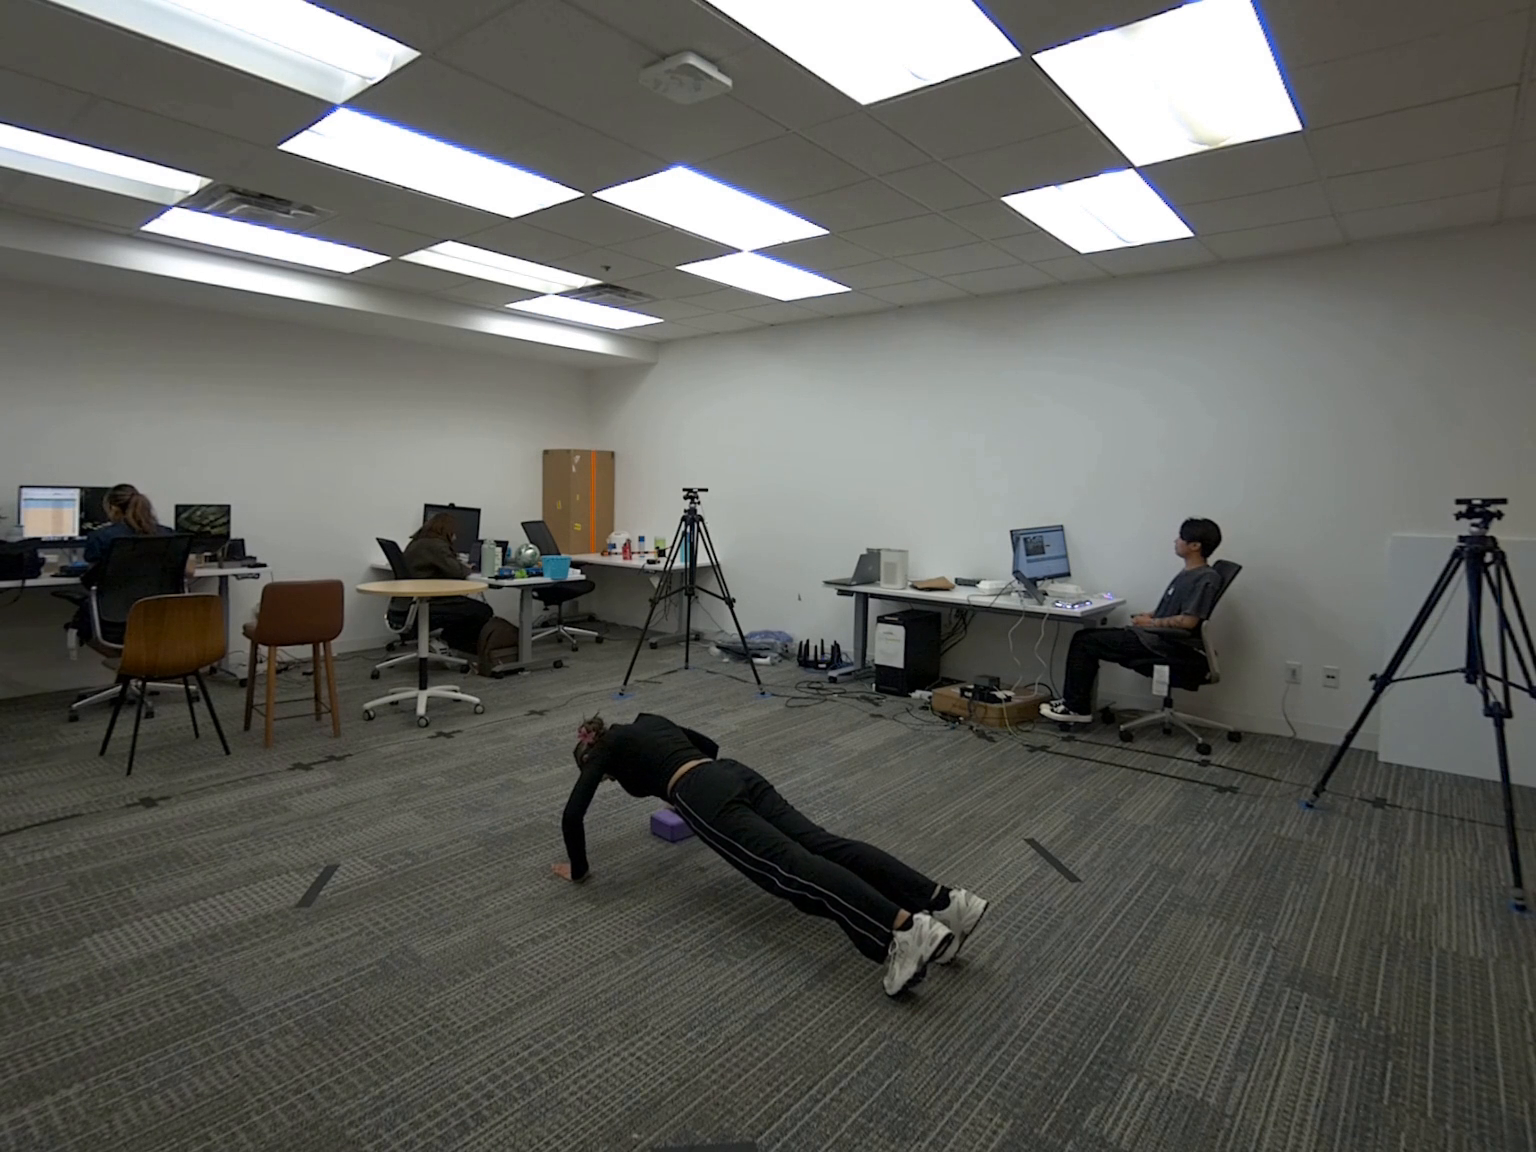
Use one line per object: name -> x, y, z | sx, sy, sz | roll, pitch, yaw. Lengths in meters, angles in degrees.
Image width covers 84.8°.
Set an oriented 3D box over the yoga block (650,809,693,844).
yoga block -> -0.361, 0.993, 3.459 | 0.222, 0.076, 0.154 | -3, 6, -45
